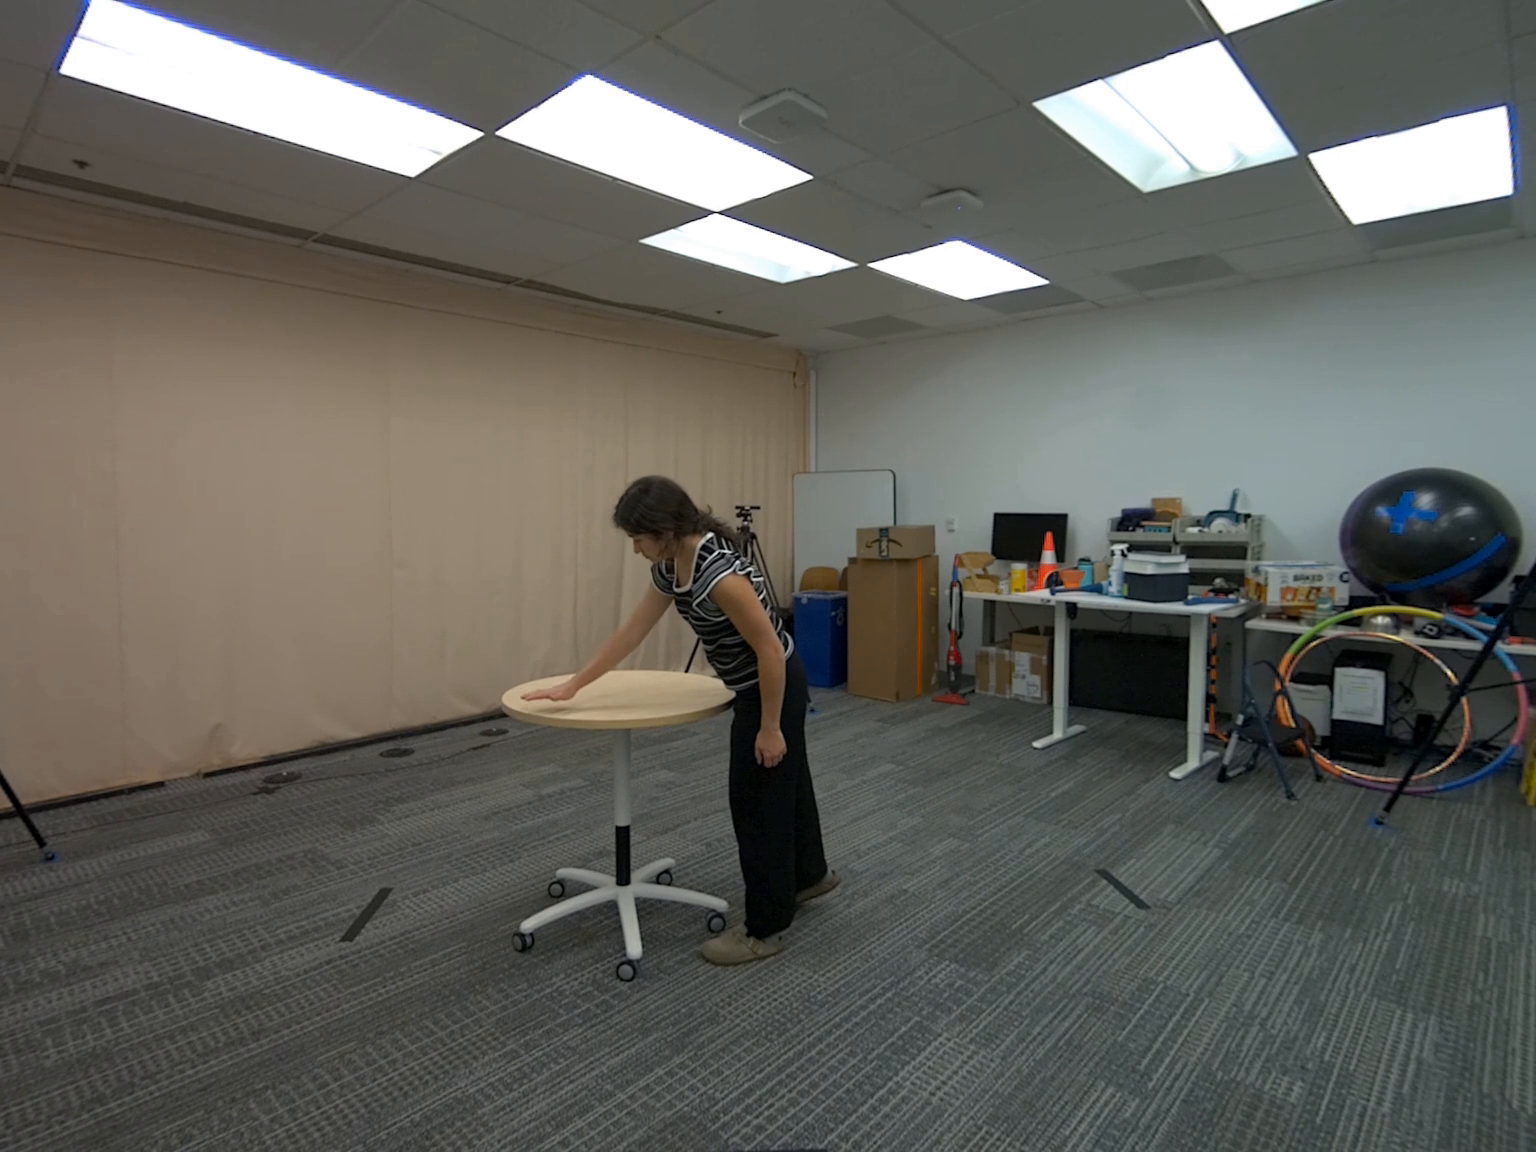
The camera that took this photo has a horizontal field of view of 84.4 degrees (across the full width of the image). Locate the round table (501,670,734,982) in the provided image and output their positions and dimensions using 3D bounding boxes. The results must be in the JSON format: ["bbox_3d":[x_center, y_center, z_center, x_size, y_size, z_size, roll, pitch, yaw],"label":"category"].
[{"bbox_3d":[-0.491,0.778,2.789,0.763,0.792,0.766,0,3,-2],"label":"round table"}]
